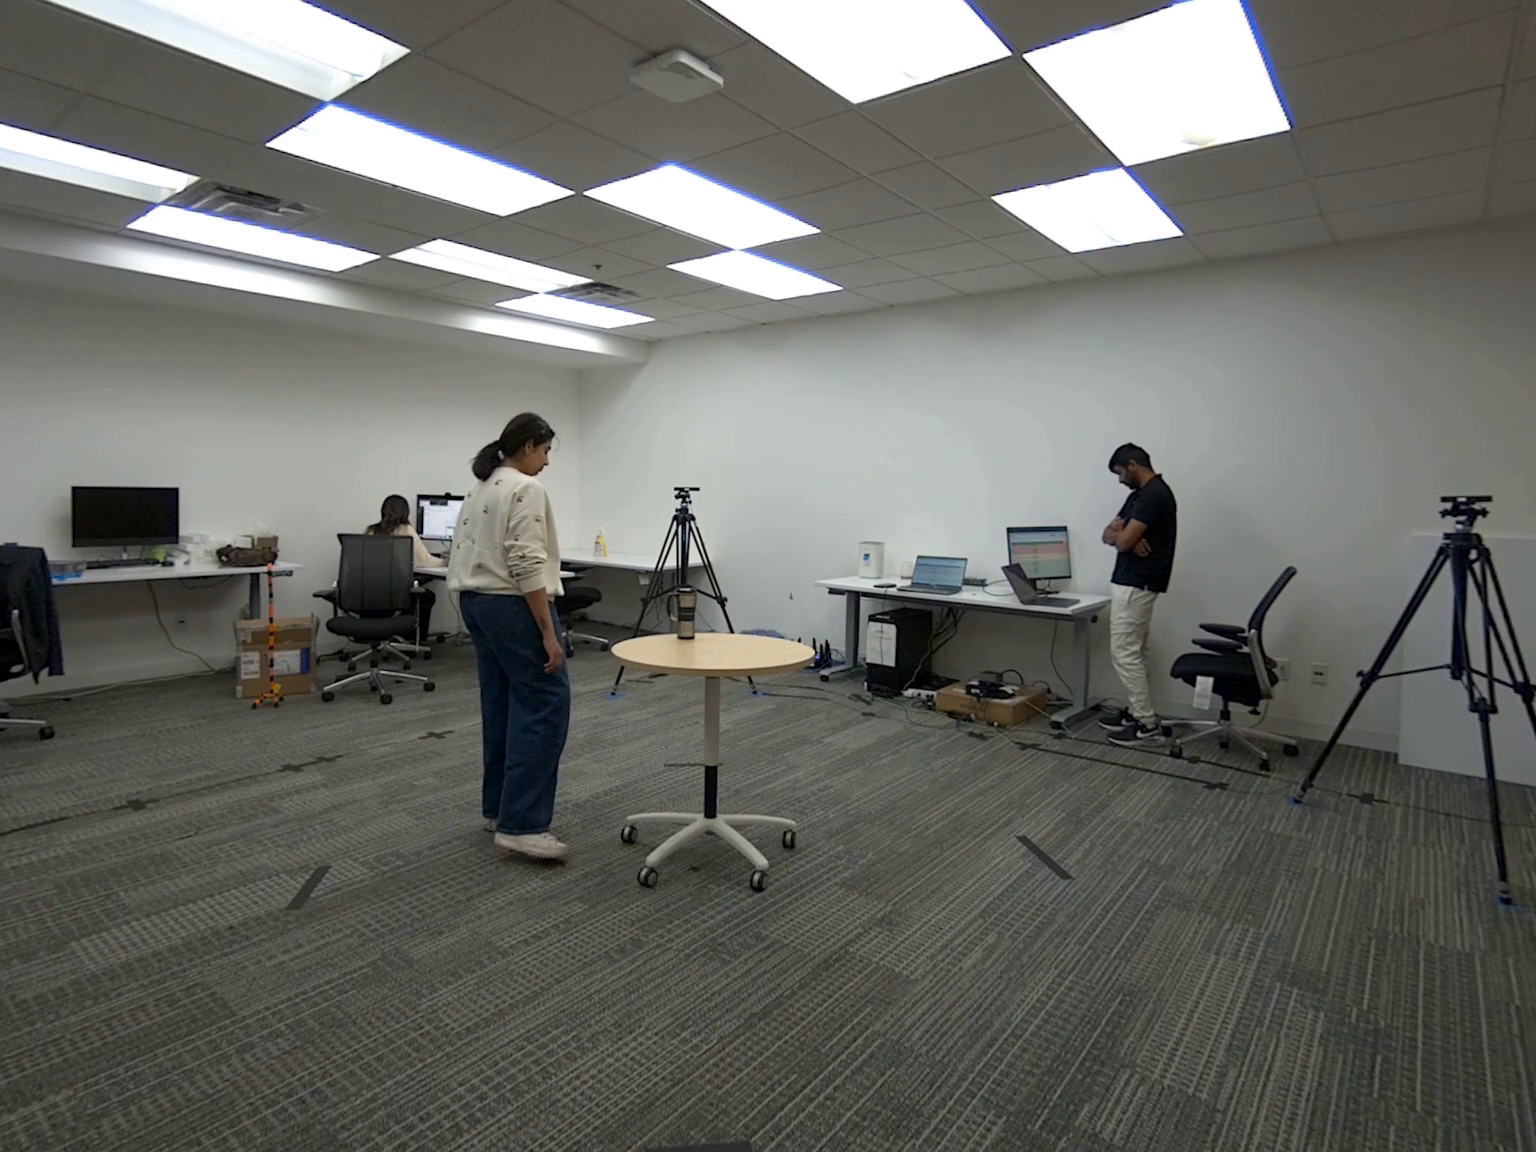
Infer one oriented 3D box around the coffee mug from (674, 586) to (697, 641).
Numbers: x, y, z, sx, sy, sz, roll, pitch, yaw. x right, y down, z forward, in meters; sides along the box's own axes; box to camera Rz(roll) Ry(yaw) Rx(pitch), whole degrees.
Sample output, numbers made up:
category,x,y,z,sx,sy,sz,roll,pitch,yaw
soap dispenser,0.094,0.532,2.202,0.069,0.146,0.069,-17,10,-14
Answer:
category,x,y,z,sx,sy,sz,roll,pitch,yaw
coffee mug,-0.363,0.153,3.456,0.126,0.201,0.086,5,12,42
